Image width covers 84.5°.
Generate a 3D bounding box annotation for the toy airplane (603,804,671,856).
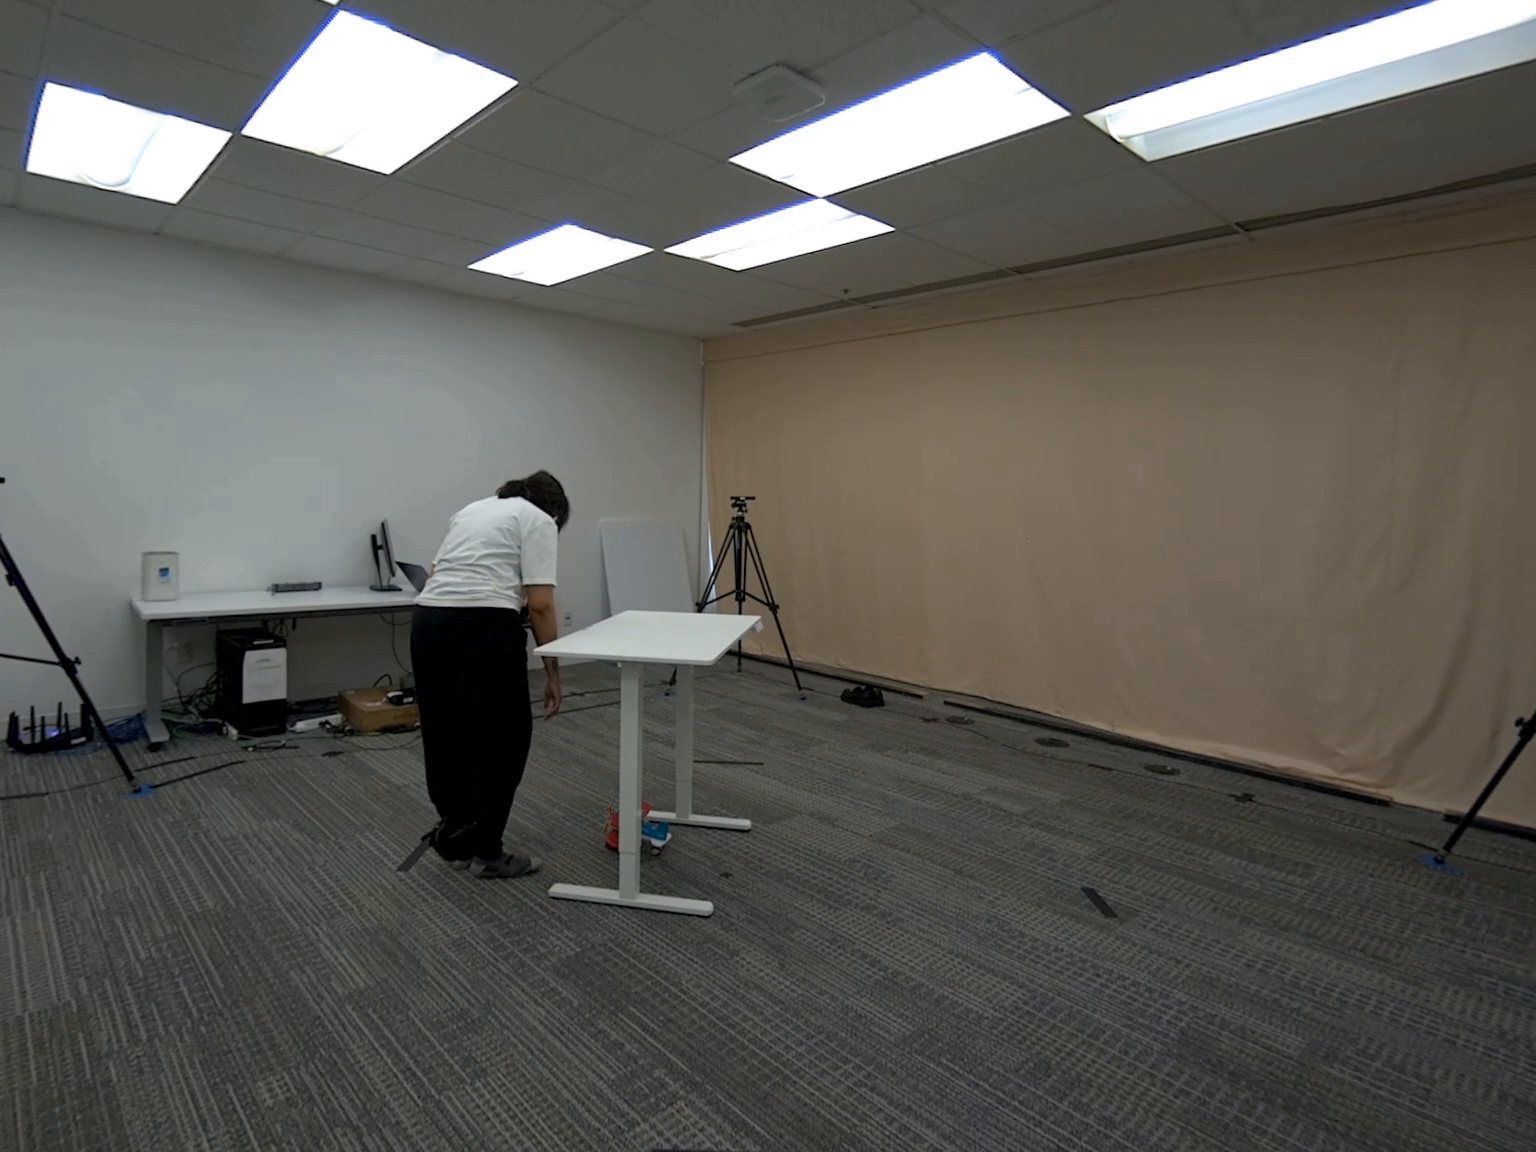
[{"bbox_3d":[-0.524,1.004,3.327,0.257,0.156,0.253,0,5,-9],"label":"toy airplane"}]
